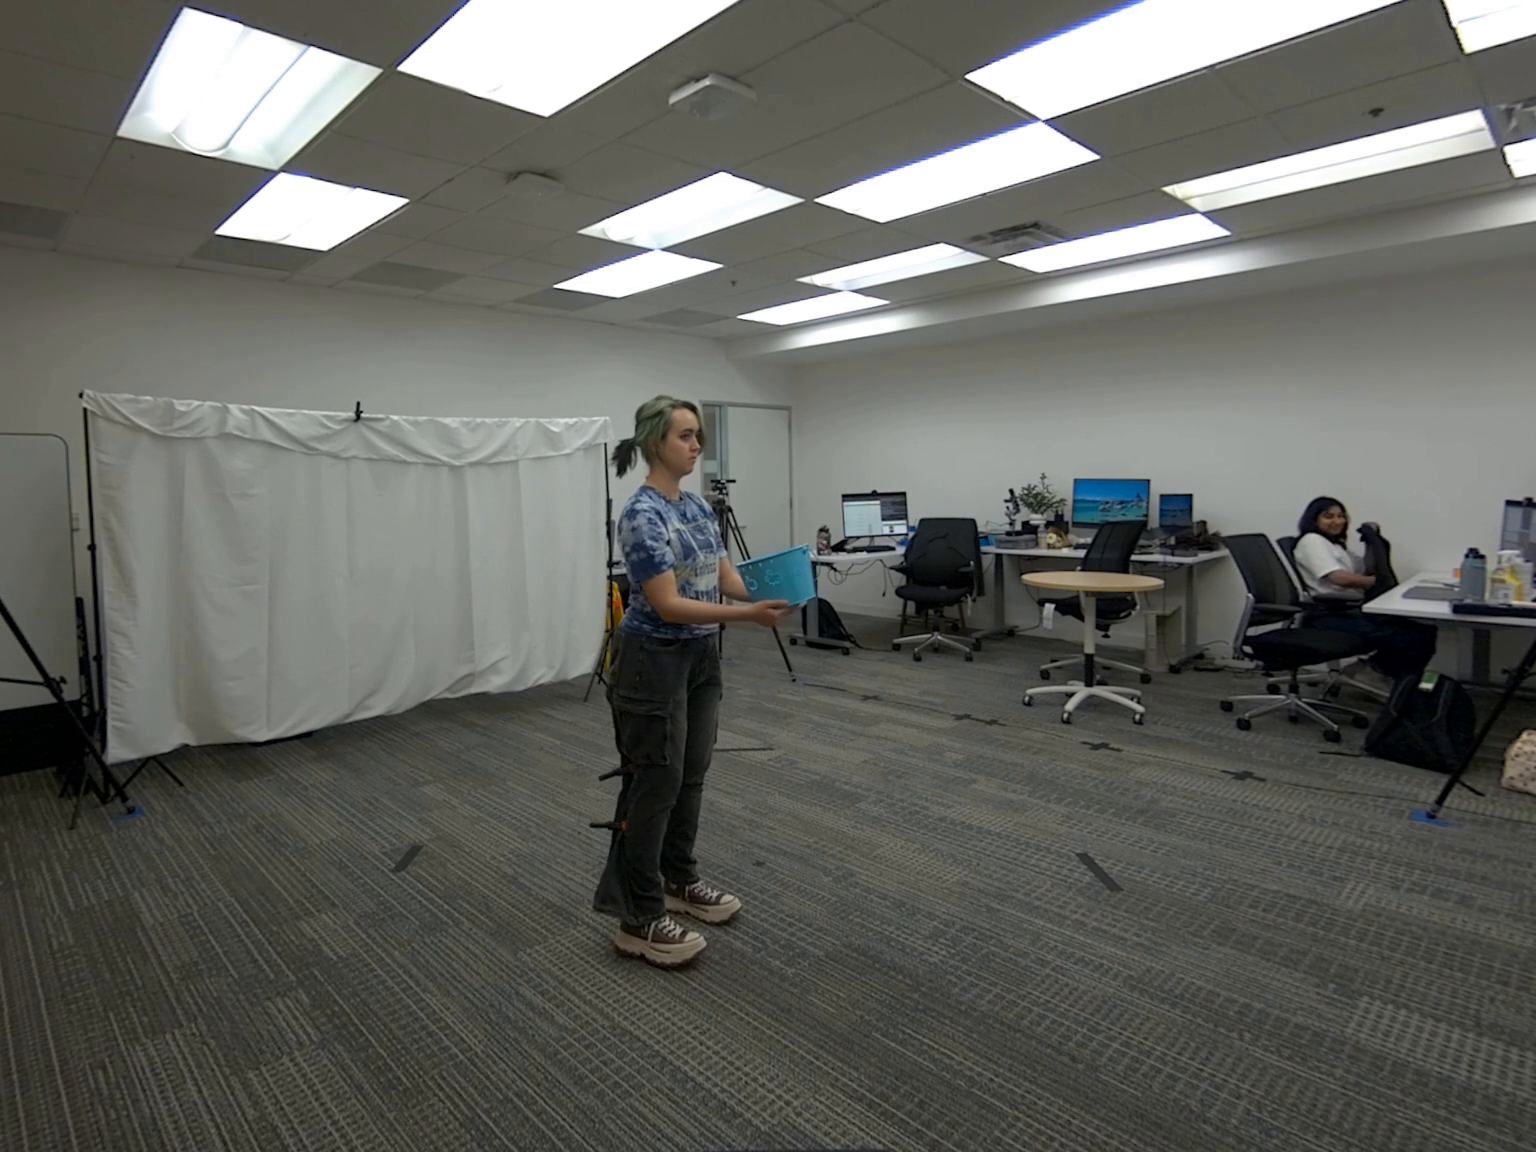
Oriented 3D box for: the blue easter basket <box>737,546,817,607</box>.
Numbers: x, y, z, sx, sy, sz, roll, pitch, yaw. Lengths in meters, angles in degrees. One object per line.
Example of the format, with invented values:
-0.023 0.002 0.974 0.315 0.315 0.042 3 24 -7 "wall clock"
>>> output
0.023 0.011 2.513 0.243 0.156 0.244 -16 1 -2 "blue easter basket"
